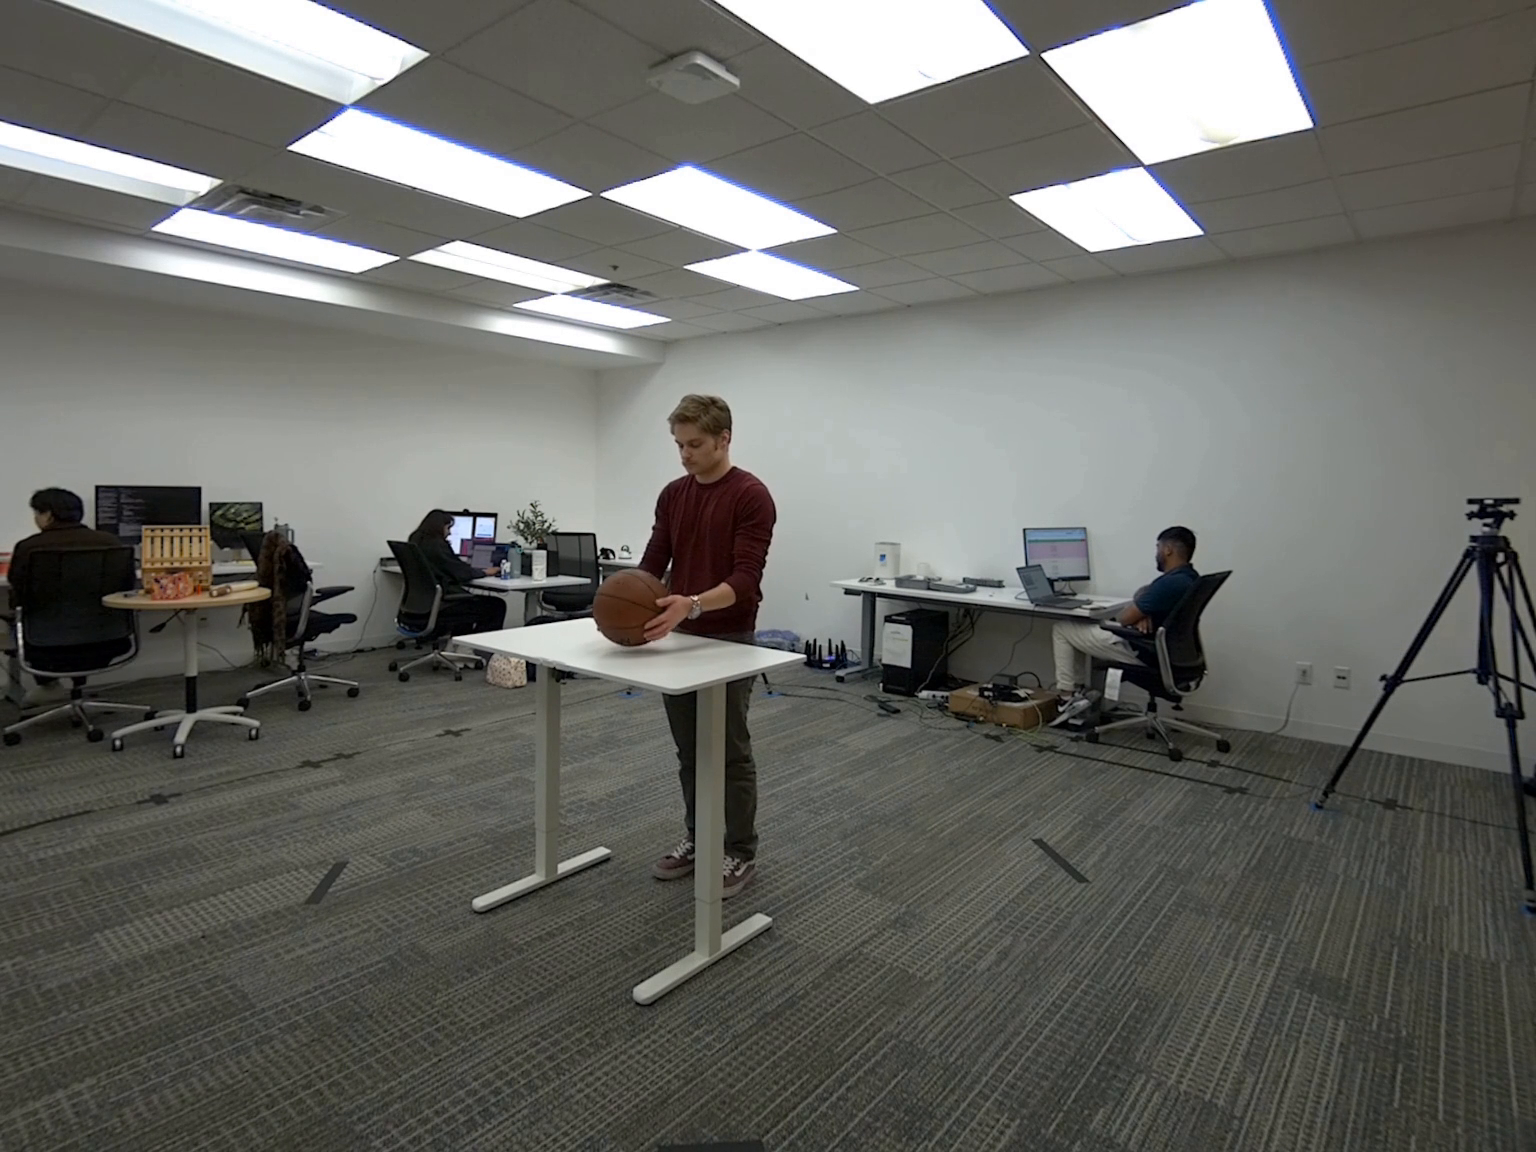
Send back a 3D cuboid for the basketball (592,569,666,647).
[{"bbox_3d":[-0.438,0.080,2.638,0.235,0.235,0.237,1,4,-2],"label":"basketball"}]
